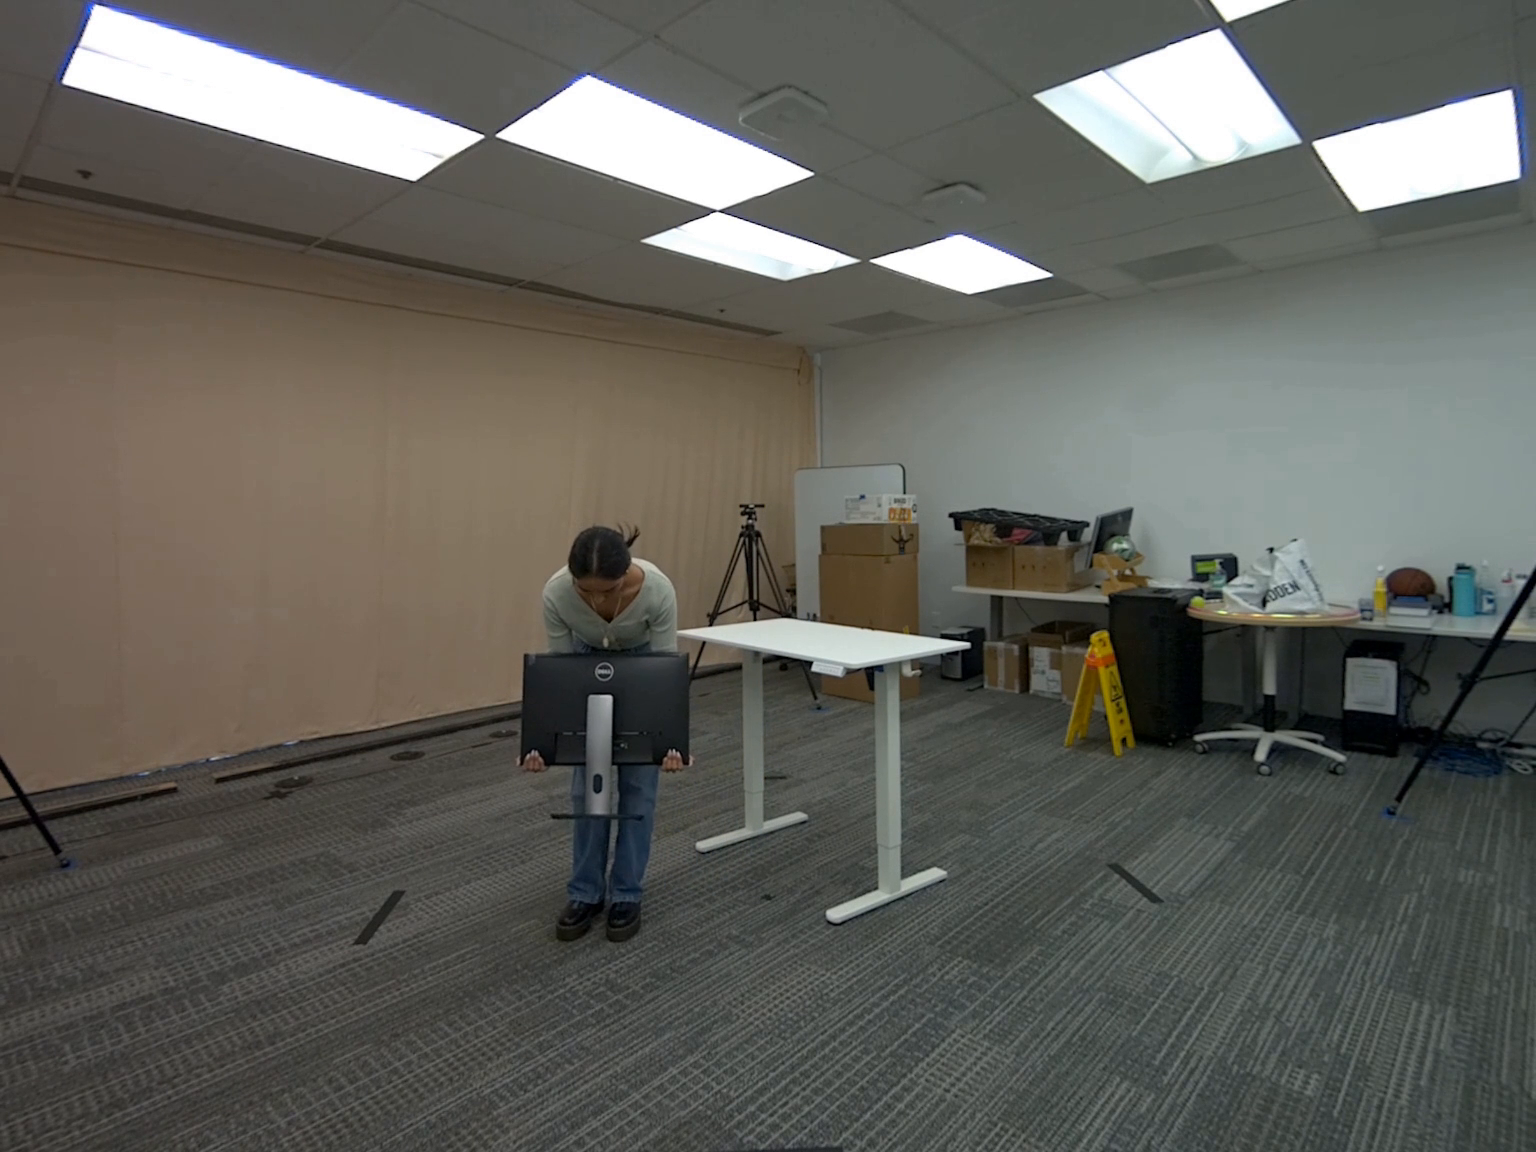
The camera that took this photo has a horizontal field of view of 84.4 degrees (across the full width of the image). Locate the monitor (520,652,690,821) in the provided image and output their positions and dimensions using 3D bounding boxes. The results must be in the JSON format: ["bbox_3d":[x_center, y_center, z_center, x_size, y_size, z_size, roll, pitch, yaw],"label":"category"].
[{"bbox_3d":[-0.512,0.496,2.619,0.538,0.528,0.185,1,-16,-1],"label":"monitor"}]
